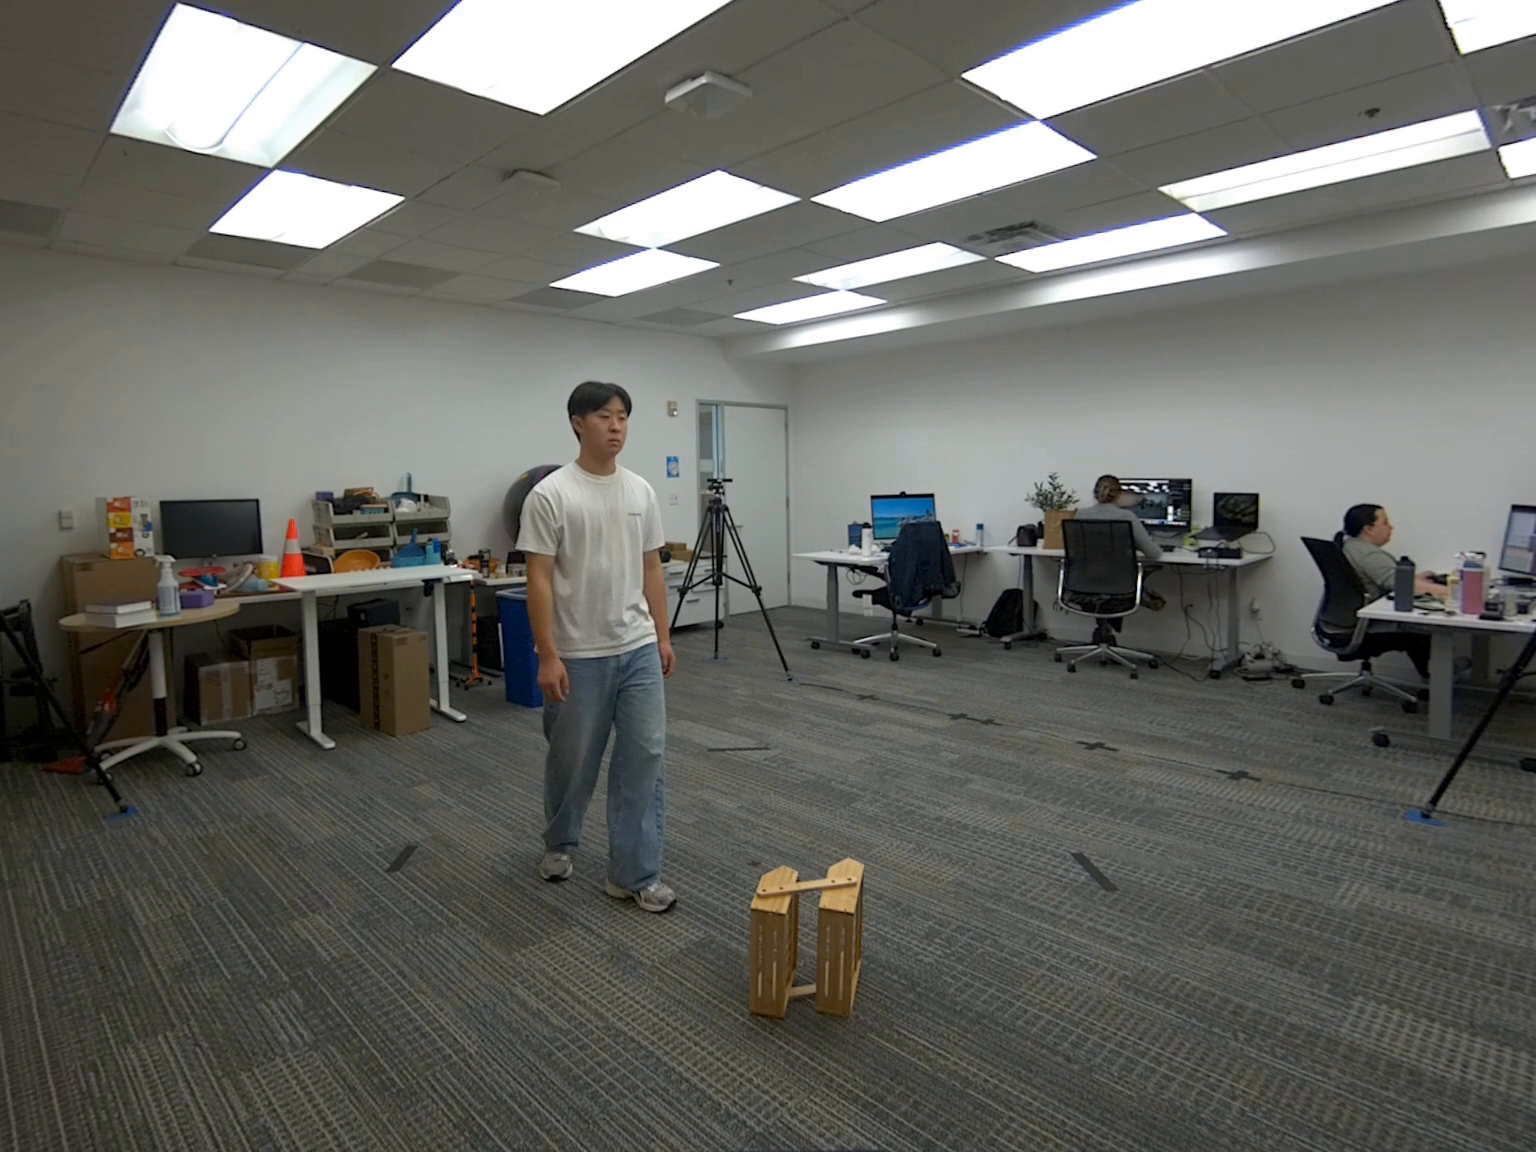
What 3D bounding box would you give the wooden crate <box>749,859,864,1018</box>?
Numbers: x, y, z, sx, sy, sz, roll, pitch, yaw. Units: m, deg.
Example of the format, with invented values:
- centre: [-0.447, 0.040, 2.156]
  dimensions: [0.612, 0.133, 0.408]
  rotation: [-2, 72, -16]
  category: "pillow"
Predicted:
- centre: [0.111, 0.968, 2.315]
  dimensions: [0.277, 0.321, 0.300]
  rotation: [3, 11, 14]
  category: "wooden crate"
